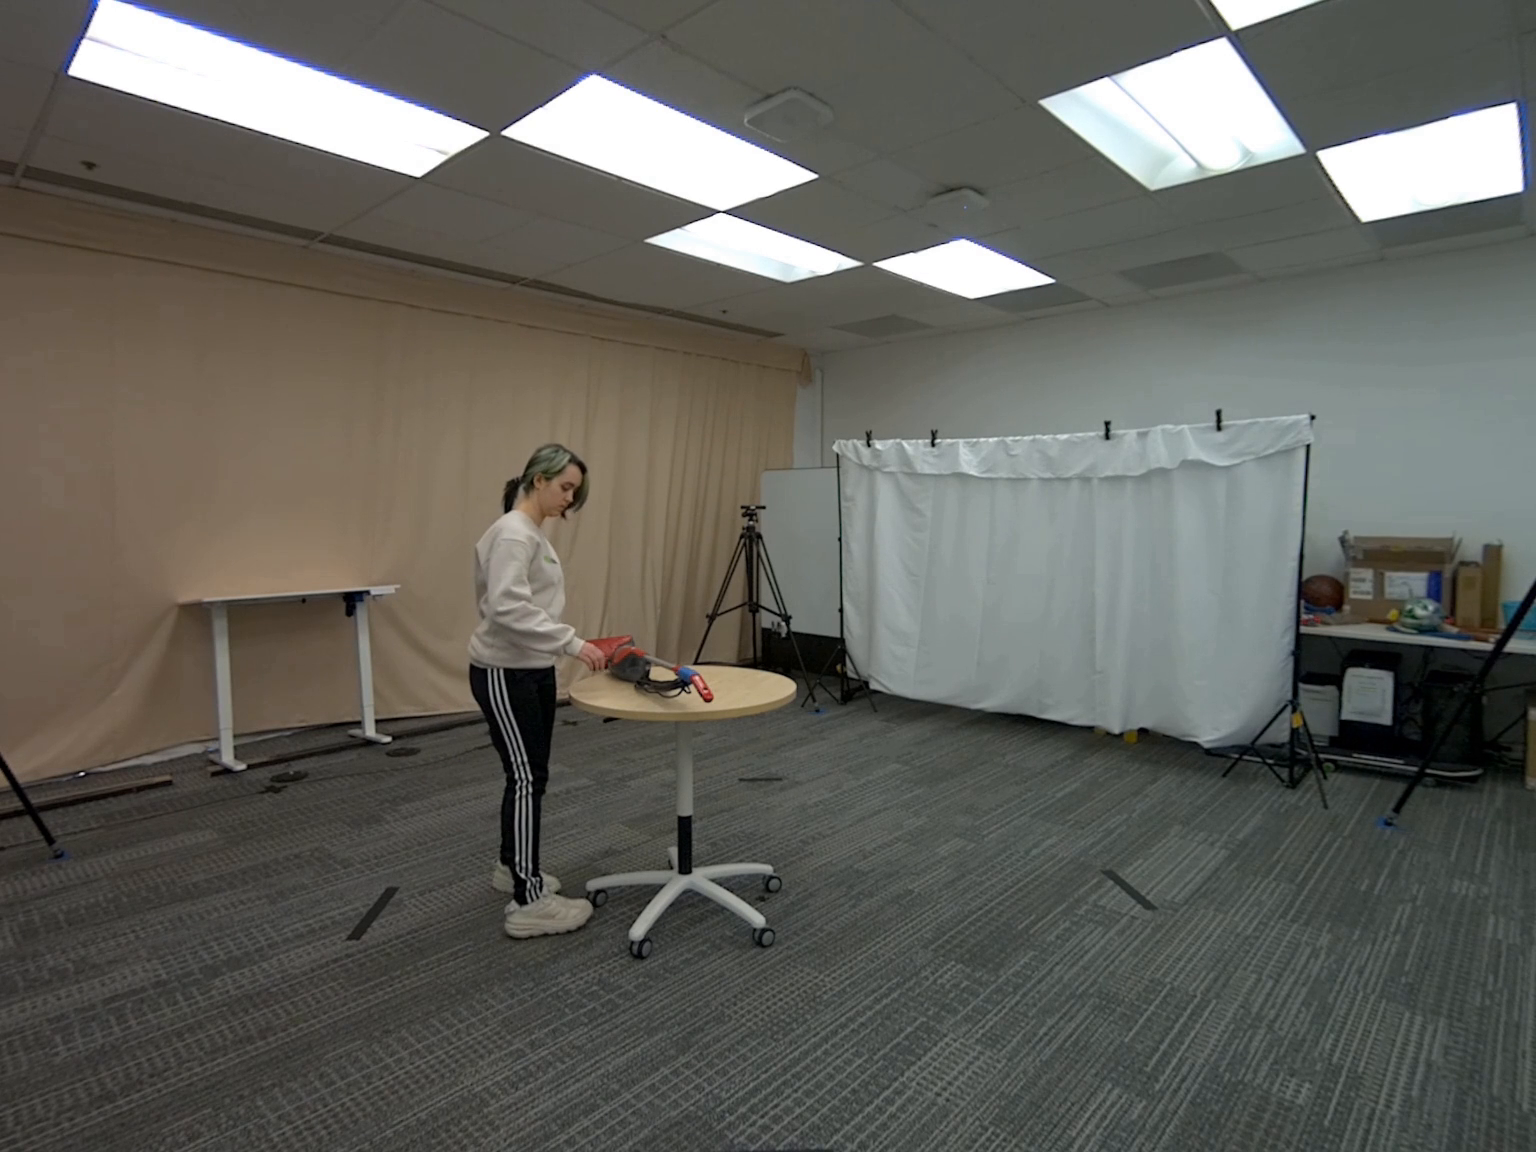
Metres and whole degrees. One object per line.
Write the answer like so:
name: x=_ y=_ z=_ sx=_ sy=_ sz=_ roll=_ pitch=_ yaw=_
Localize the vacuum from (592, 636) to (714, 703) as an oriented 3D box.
vacuum: x=-0.387 y=0.331 z=2.754 sx=0.247 sy=0.143 sz=1.076 roll=-7 pitch=5 yaw=-26
